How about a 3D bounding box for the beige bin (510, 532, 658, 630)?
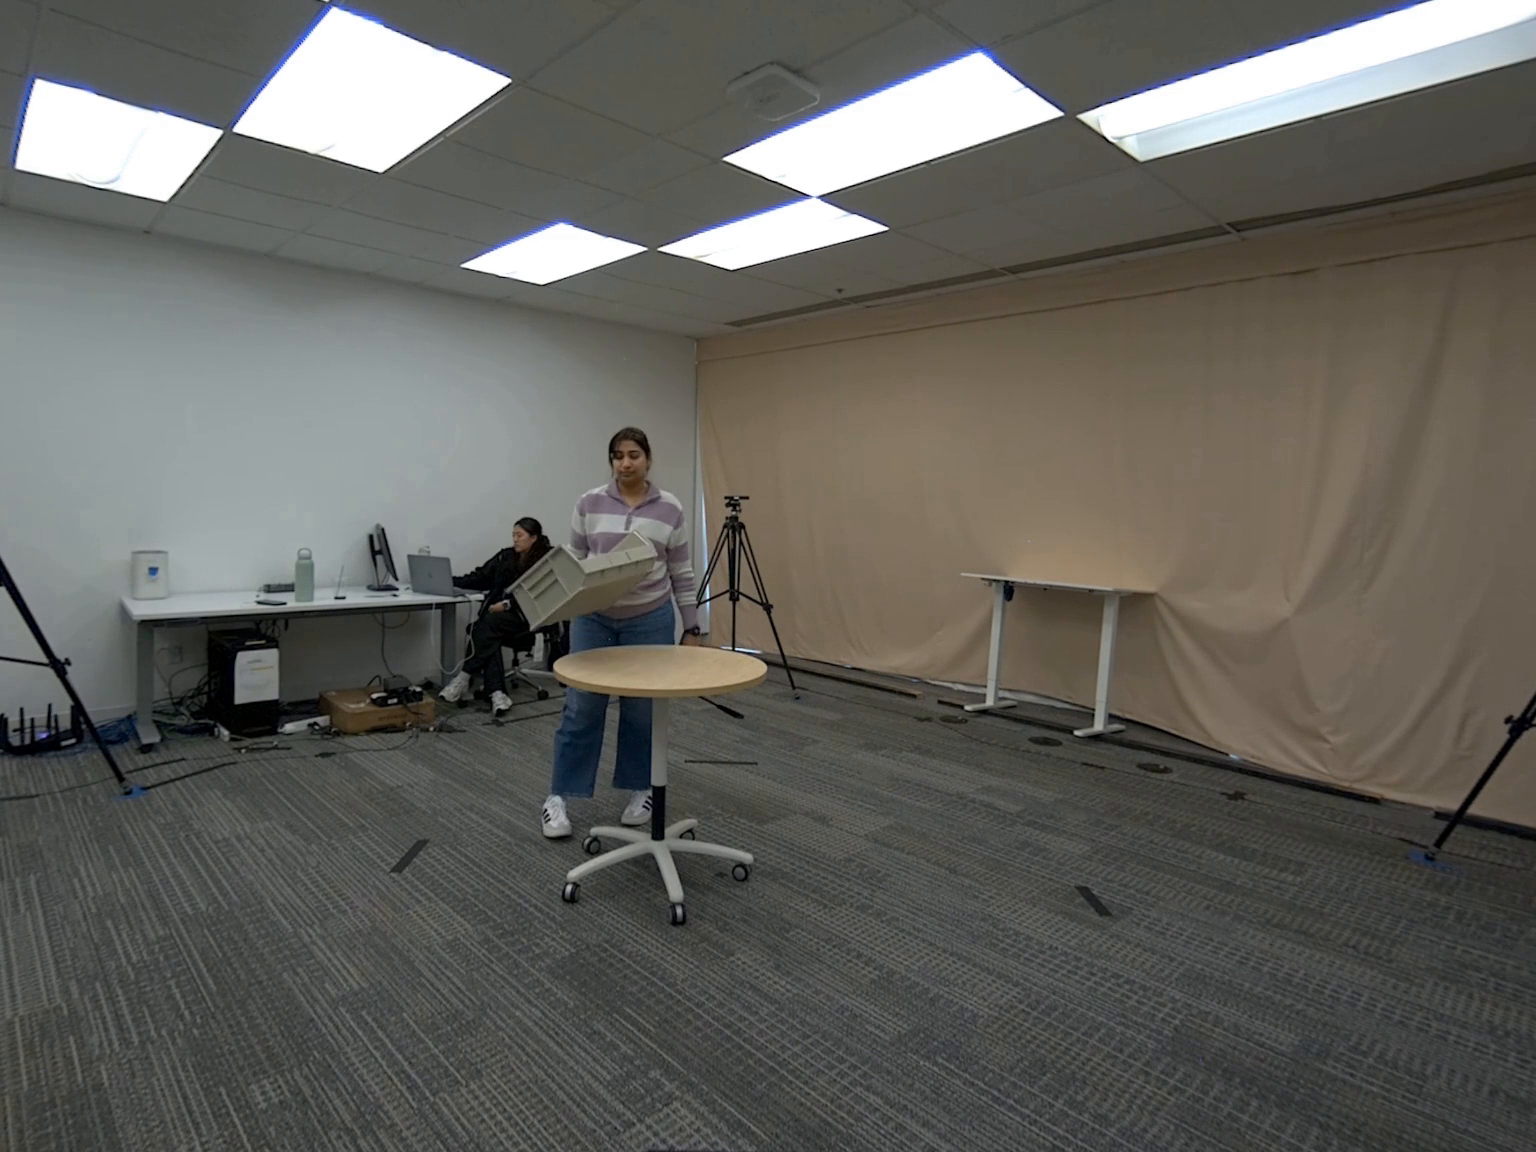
[{"bbox_3d":[-0.683,0.005,3.124,0.379,0.191,0.416,-36,-9,31],"label":"beige bin"}]
